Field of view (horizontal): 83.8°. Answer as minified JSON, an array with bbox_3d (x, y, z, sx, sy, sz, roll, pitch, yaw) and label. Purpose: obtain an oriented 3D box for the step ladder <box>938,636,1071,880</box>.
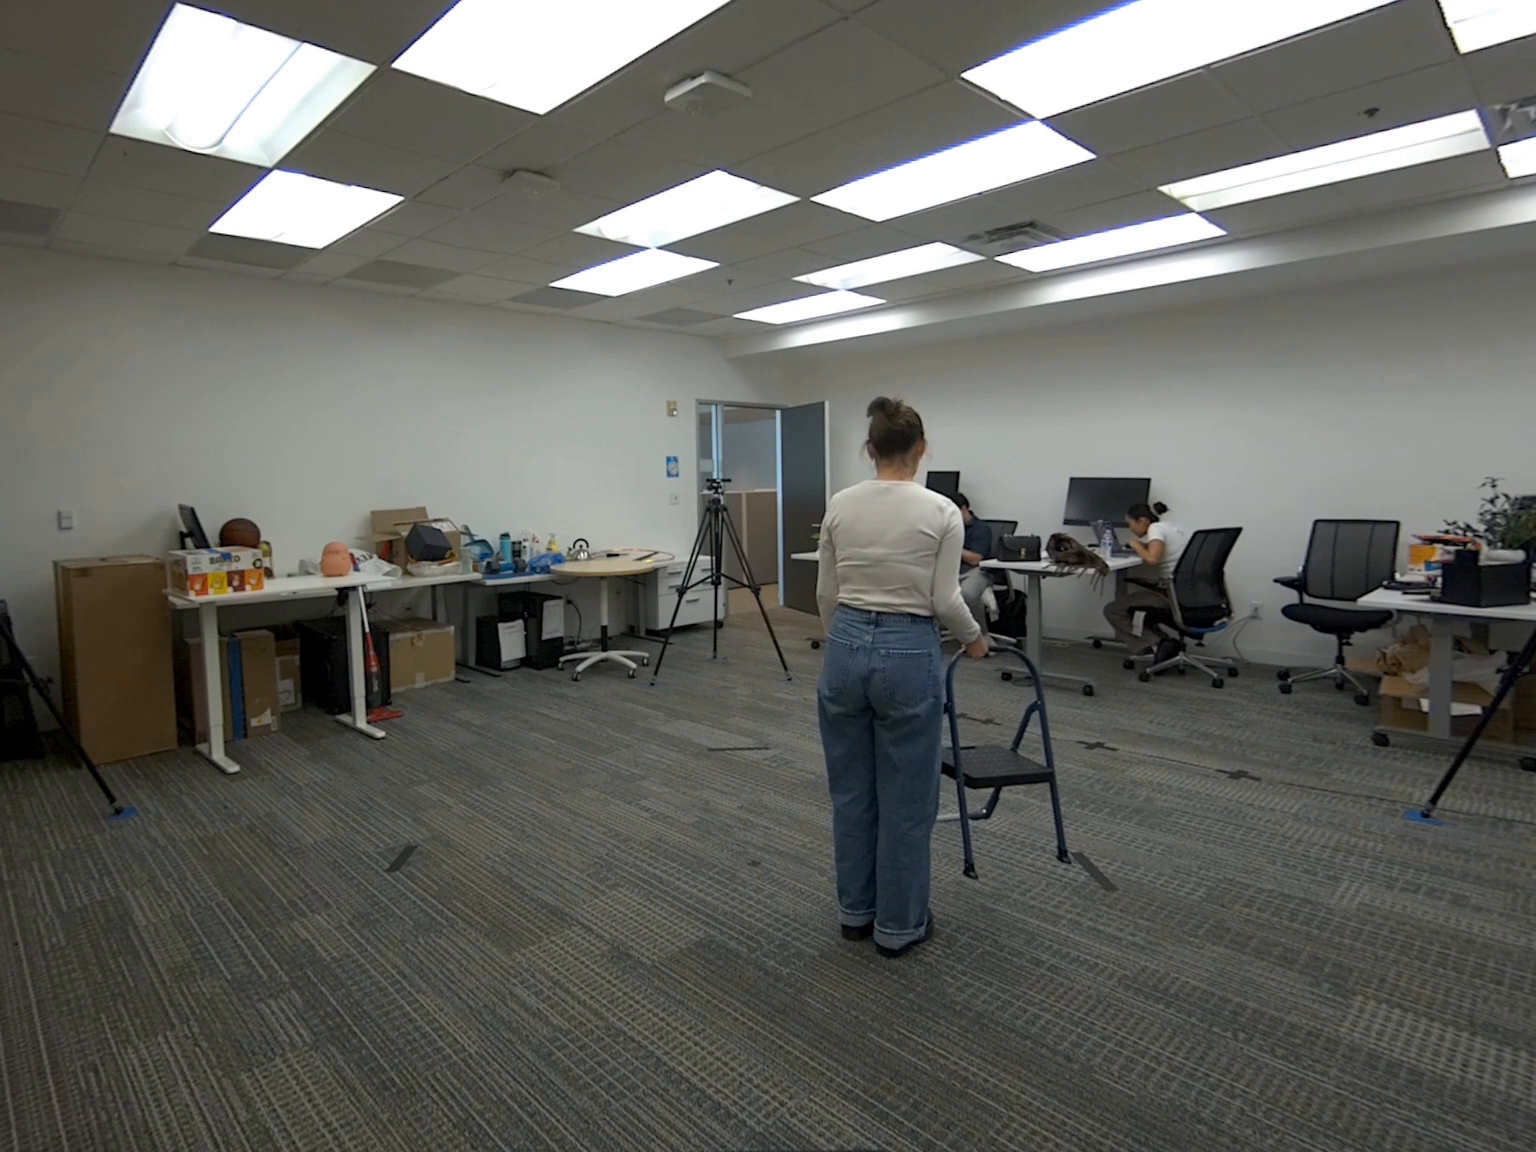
[{"bbox_3d":[0.697,0.531,2.619,0.418,0.604,0.360,5,6,-33],"label":"step ladder"}]
